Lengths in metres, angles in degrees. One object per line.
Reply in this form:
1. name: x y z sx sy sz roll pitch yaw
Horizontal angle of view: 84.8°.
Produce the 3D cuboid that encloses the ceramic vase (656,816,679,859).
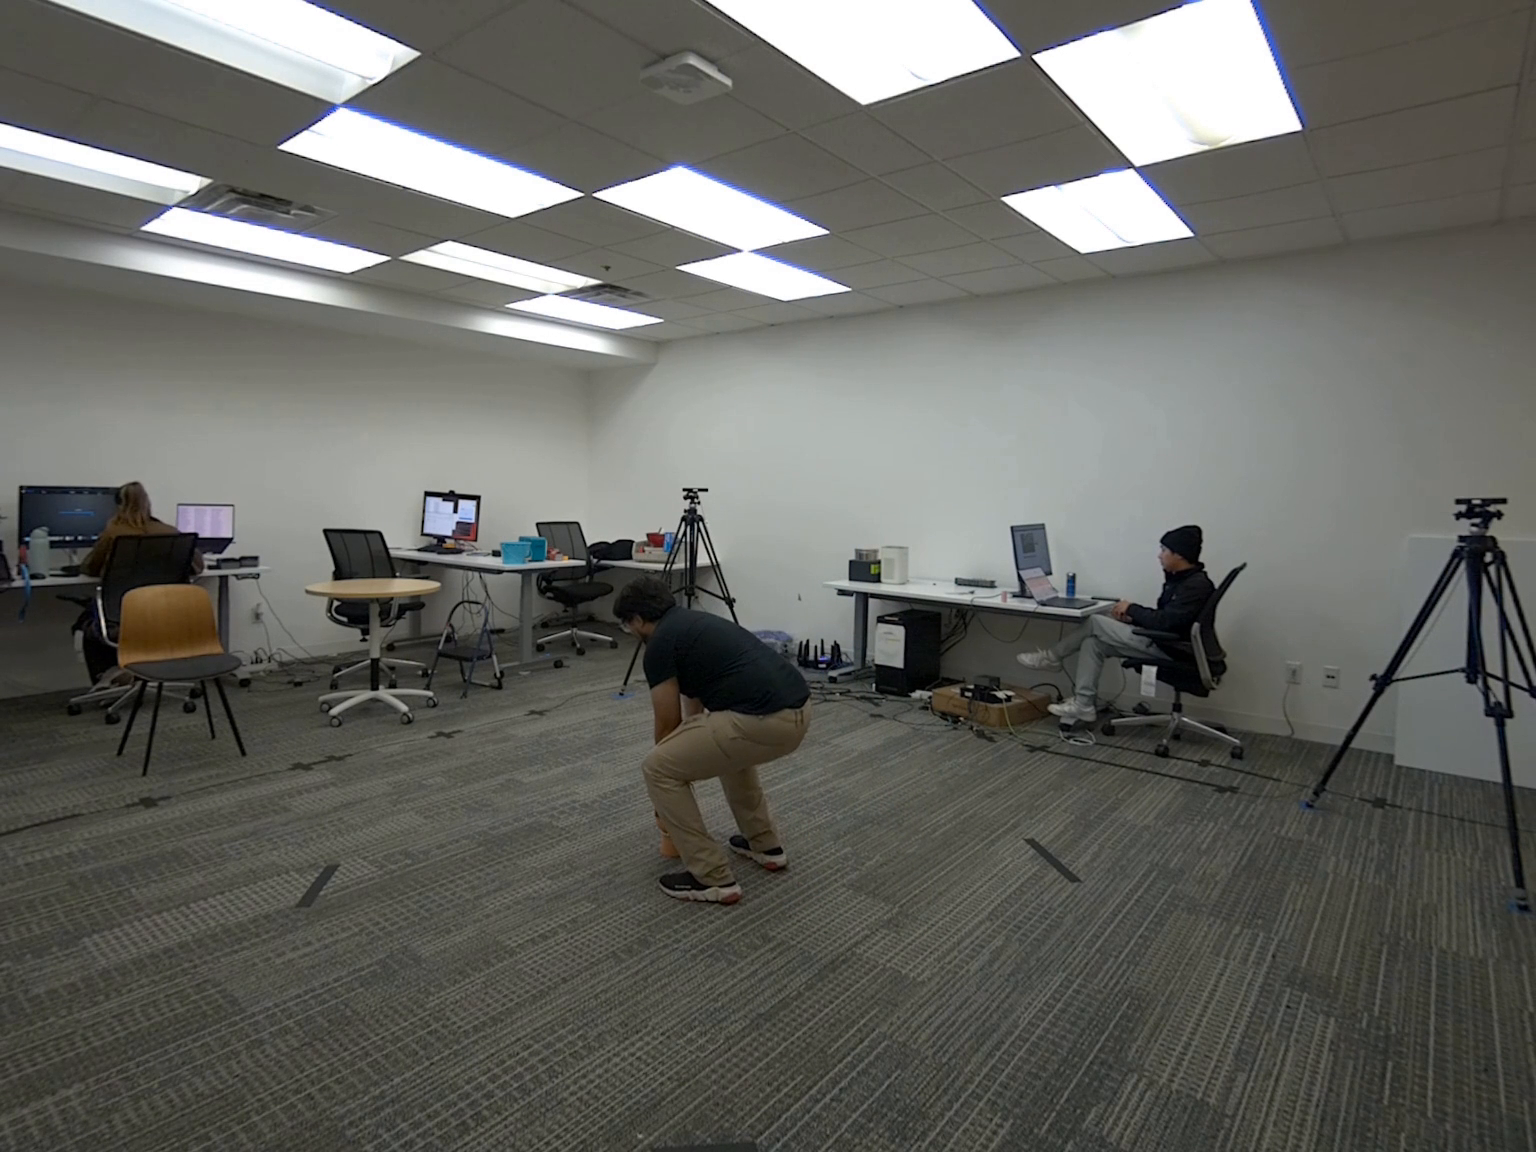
1. ceramic vase: -0.370 0.931 3.256 0.134 0.219 0.160 2 4 -5
